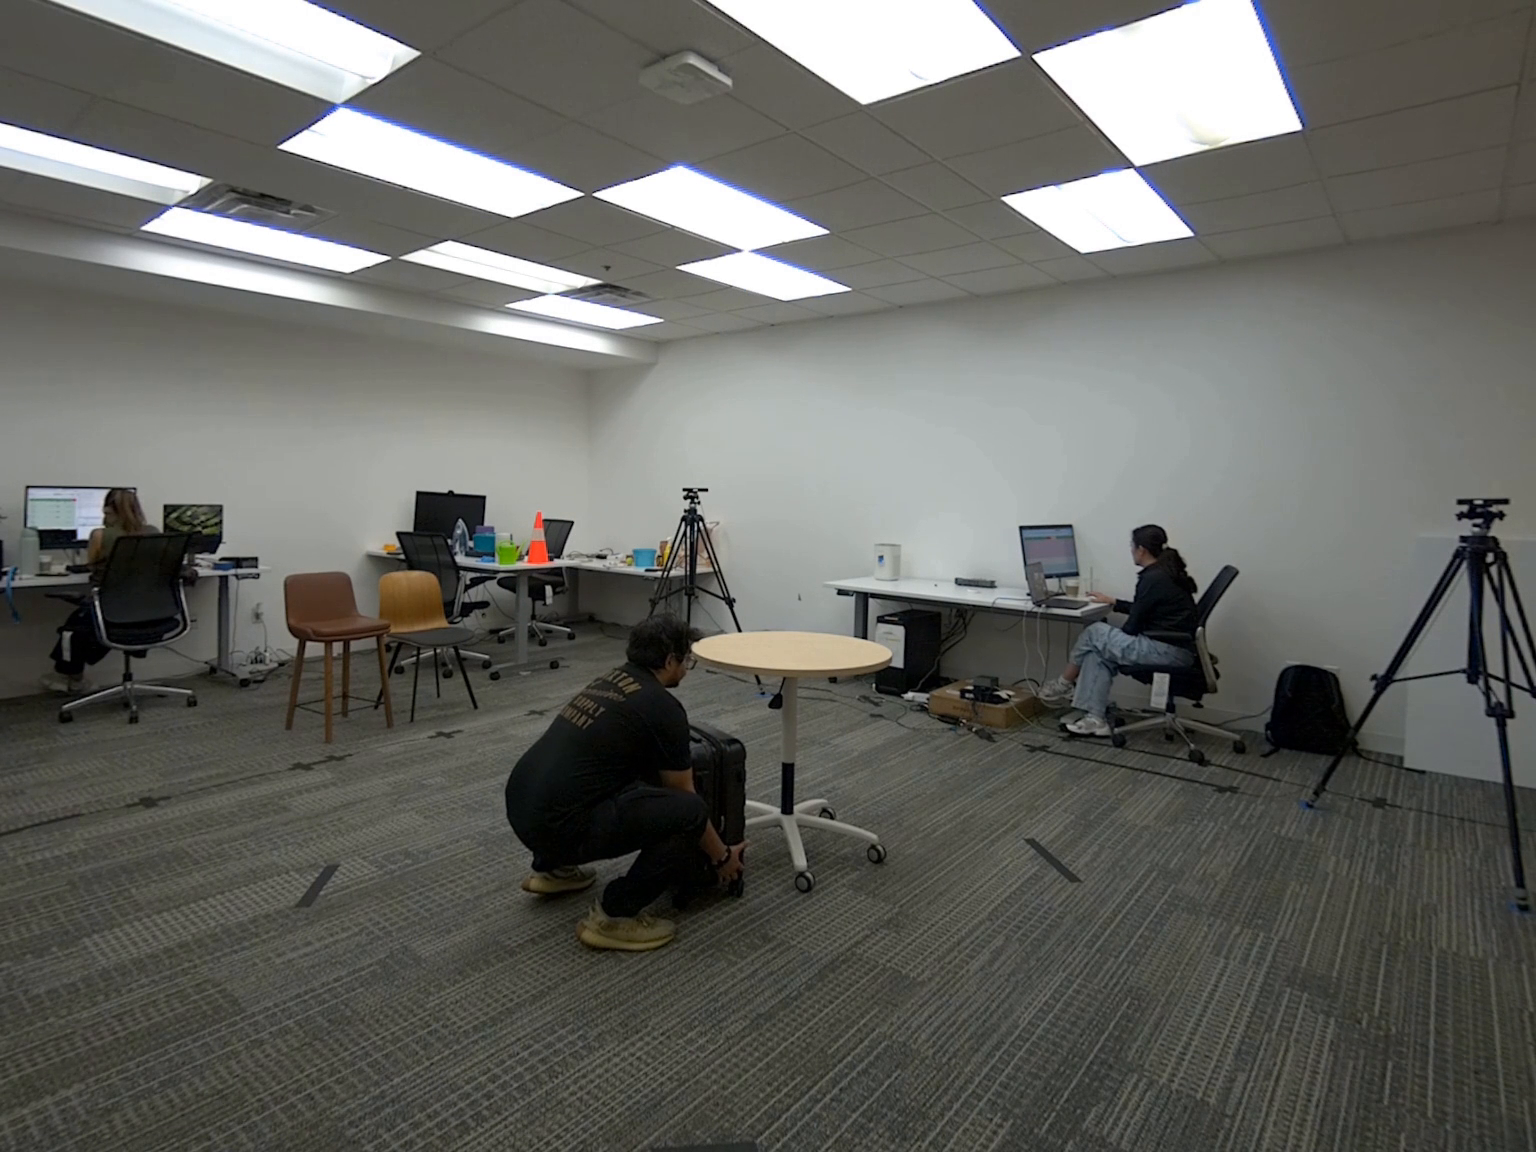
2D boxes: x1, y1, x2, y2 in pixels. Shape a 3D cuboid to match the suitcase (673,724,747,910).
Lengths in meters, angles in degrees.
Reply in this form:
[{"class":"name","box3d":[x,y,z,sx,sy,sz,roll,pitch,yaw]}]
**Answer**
[{"class":"suitcase","box3d":[-0.267,0.804,2.987,0.241,0.548,0.387,0,4,-32]}]
